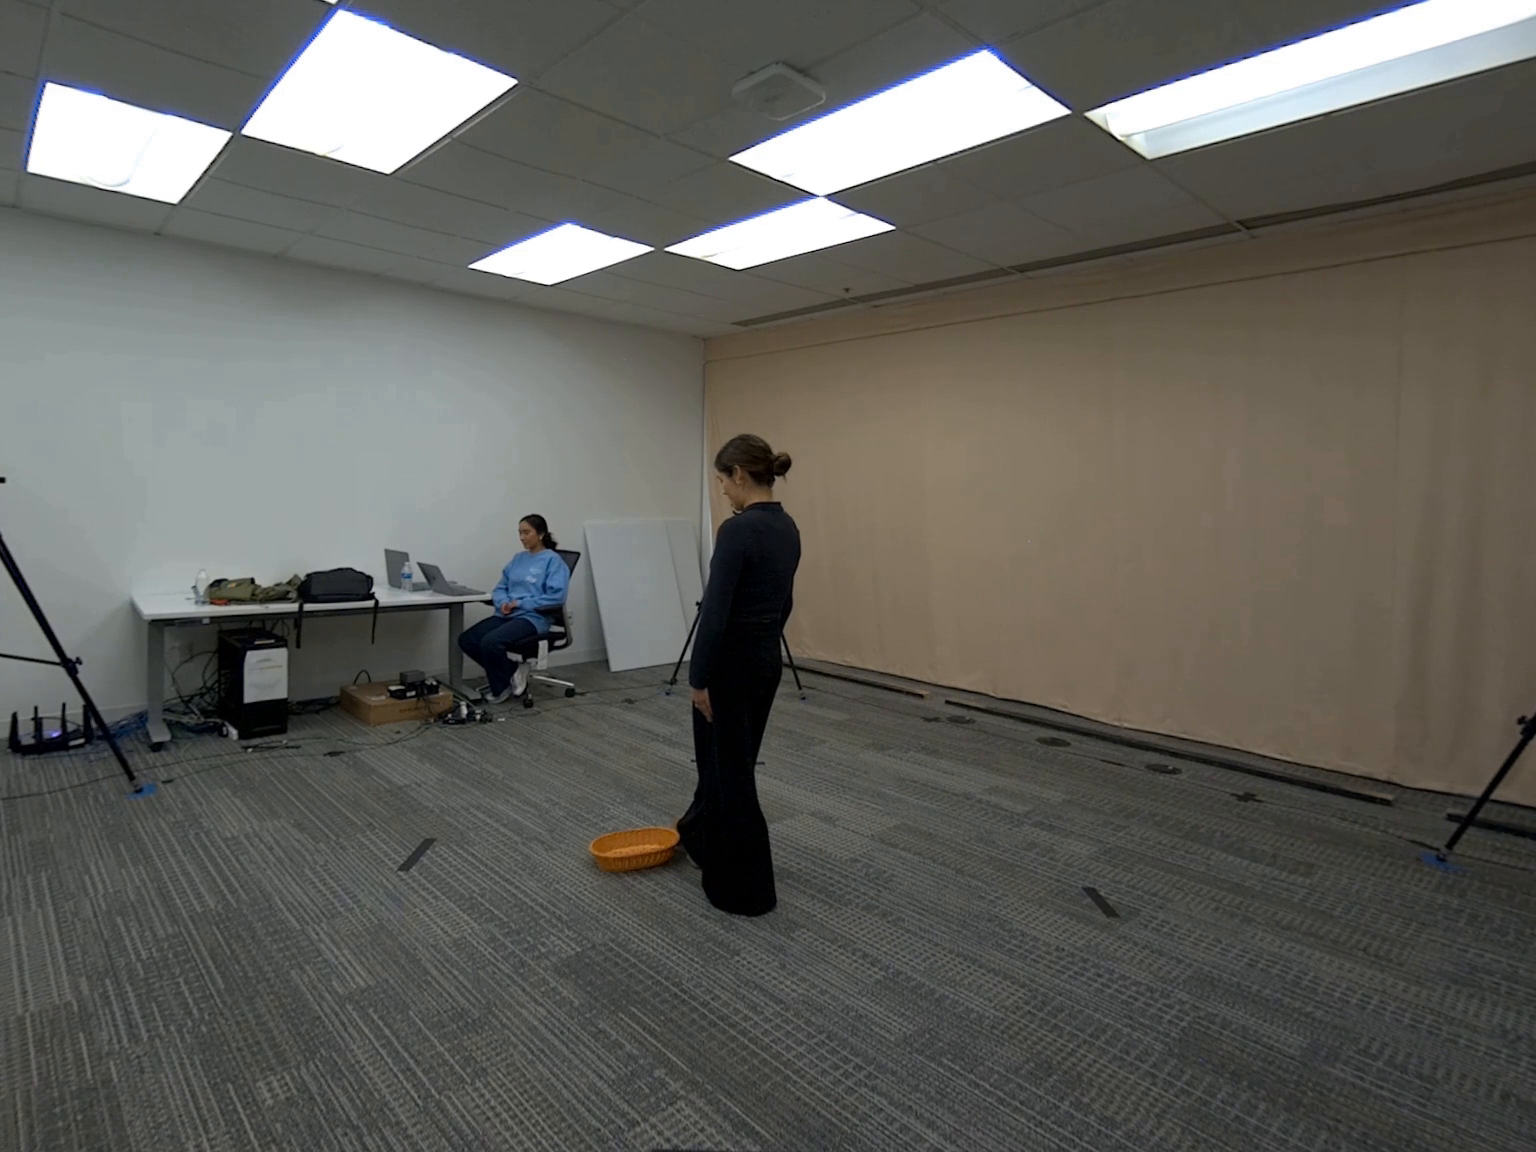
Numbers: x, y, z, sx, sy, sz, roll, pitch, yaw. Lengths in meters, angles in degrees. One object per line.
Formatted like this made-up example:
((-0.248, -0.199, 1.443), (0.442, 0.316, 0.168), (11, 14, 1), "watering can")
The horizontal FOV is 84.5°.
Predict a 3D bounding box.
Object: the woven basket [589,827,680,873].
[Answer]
((-0.511, 1.038, 3.197), (0.347, 0.073, 0.256), (-4, 5, -15), "woven basket")
